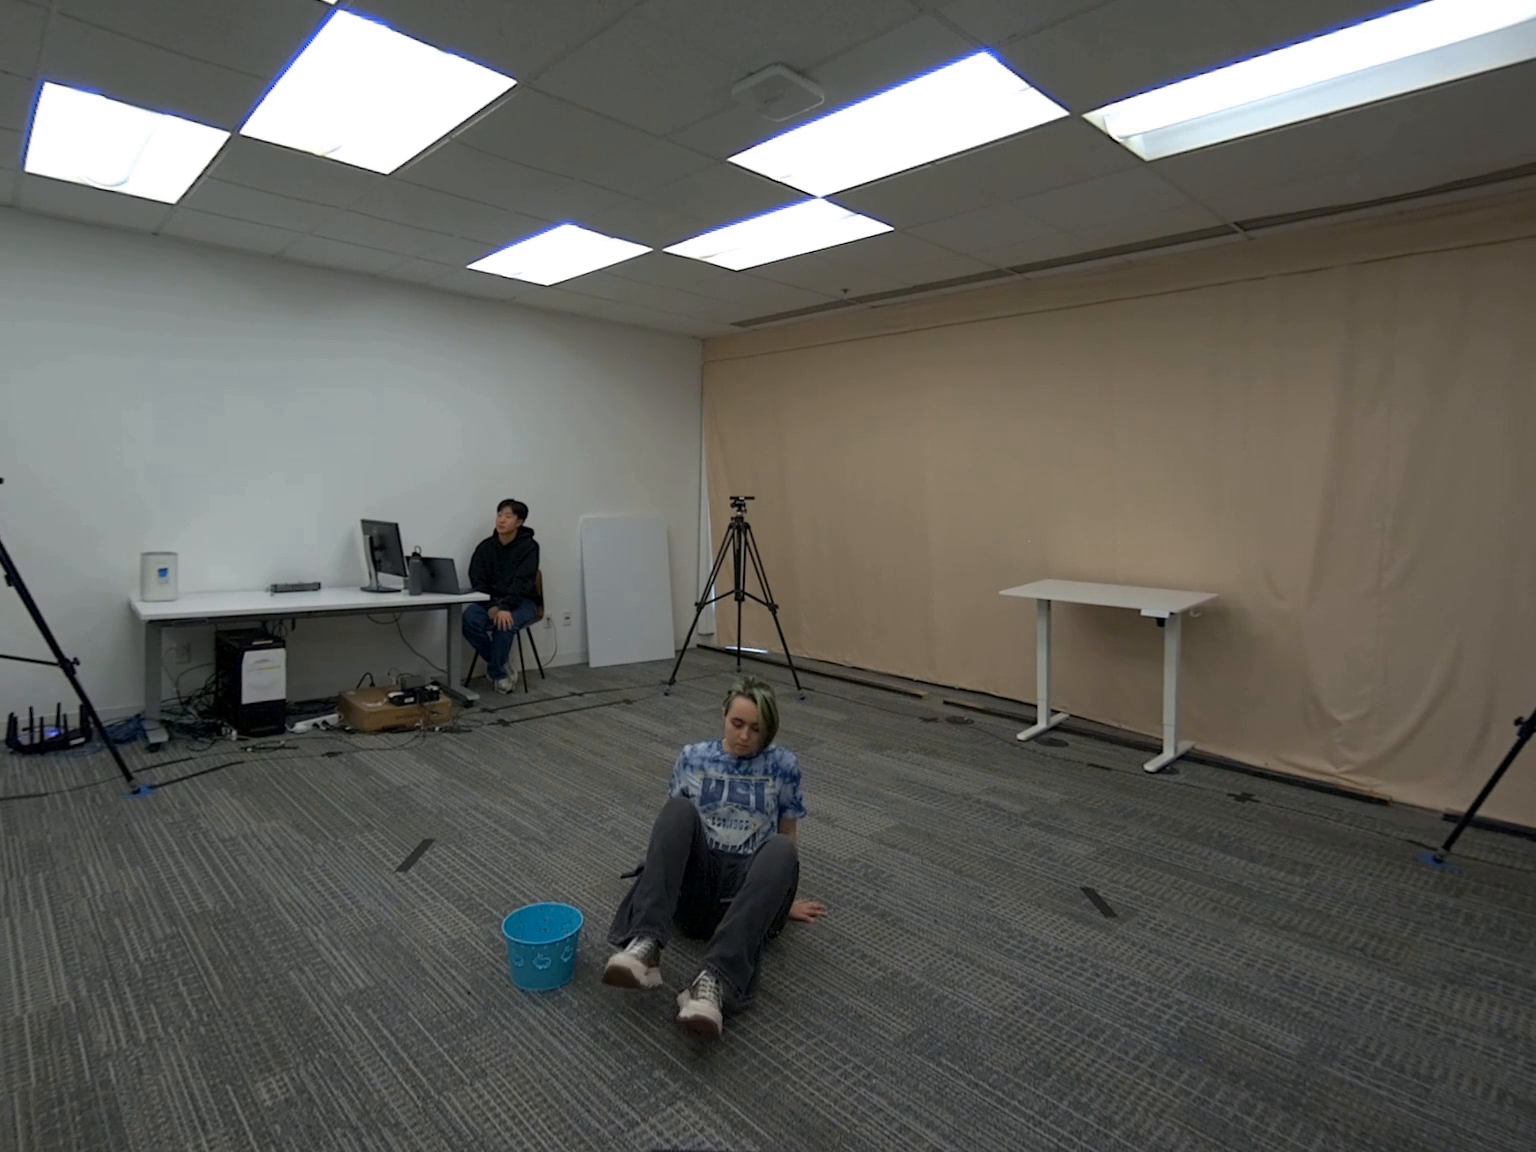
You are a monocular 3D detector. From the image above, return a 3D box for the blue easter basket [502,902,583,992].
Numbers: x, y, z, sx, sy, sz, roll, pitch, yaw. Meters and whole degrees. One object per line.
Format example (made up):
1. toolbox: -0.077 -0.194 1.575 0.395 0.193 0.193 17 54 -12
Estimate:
1. blue easter basket: -0.655 1.070 2.439 0.243 0.155 0.244 1 5 -1
